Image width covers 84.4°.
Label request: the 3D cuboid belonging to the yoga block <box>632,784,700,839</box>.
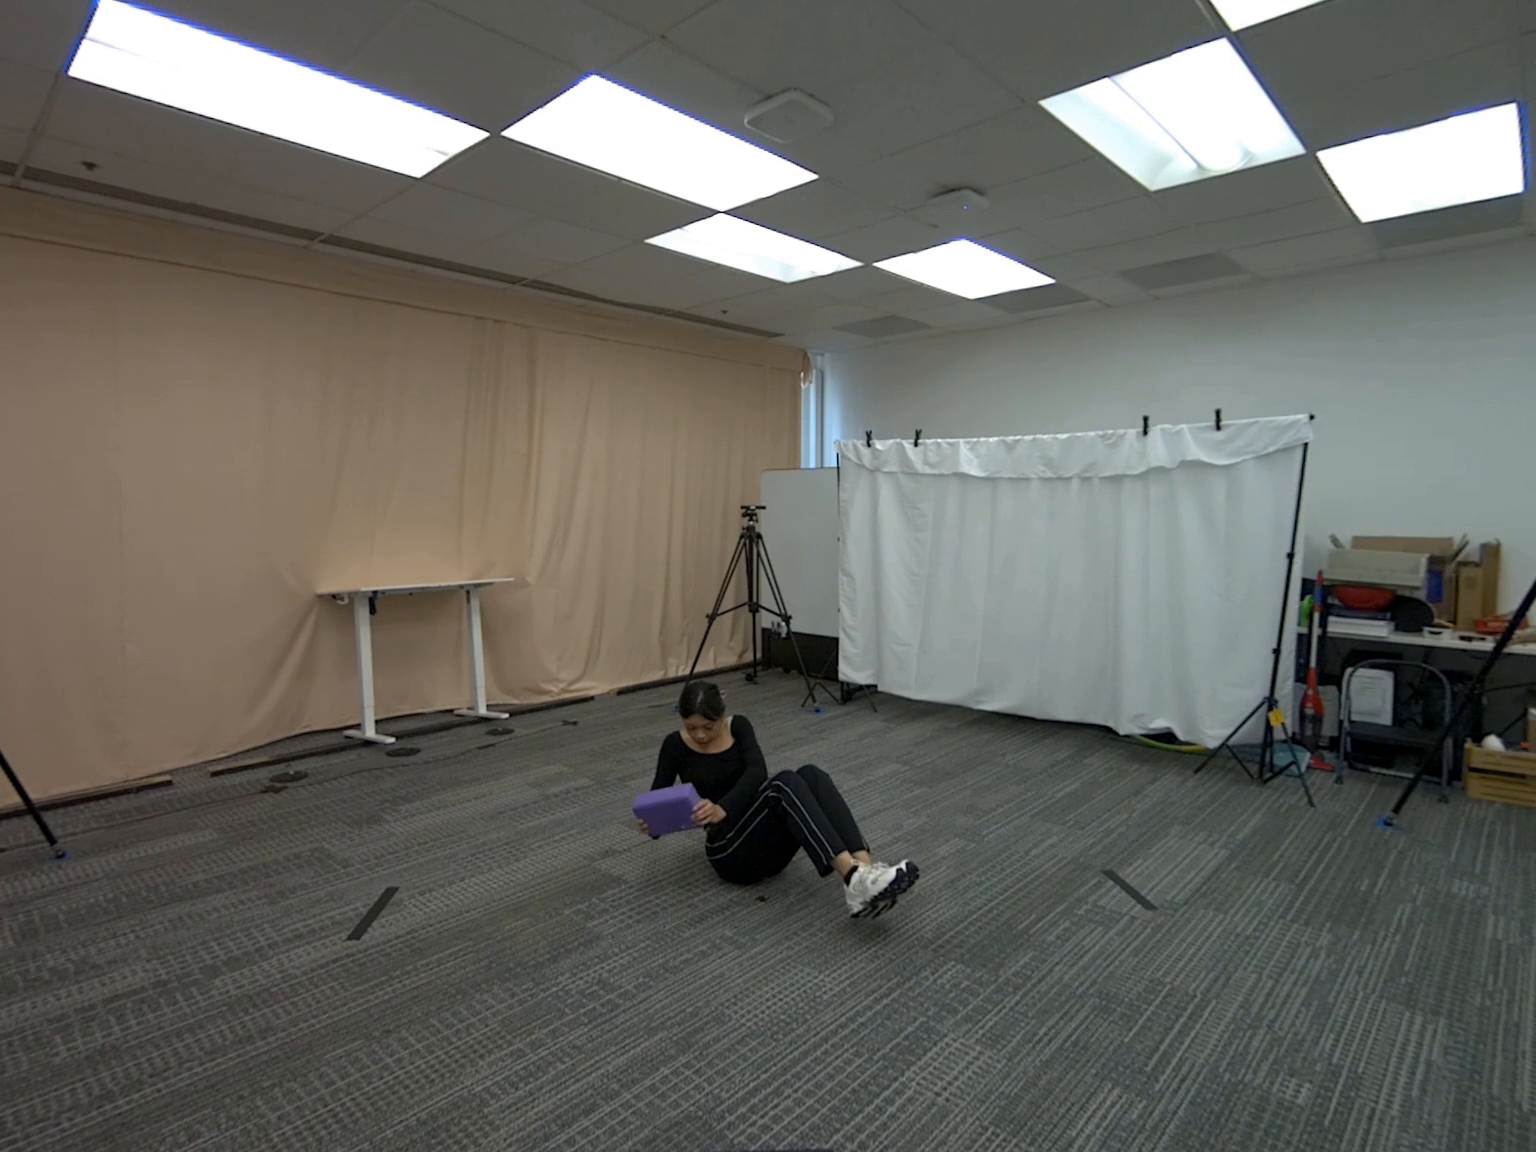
[{"bbox_3d":[-0.341,0.811,2.929,0.233,0.145,0.077,-16,27,19],"label":"yoga block"}]
